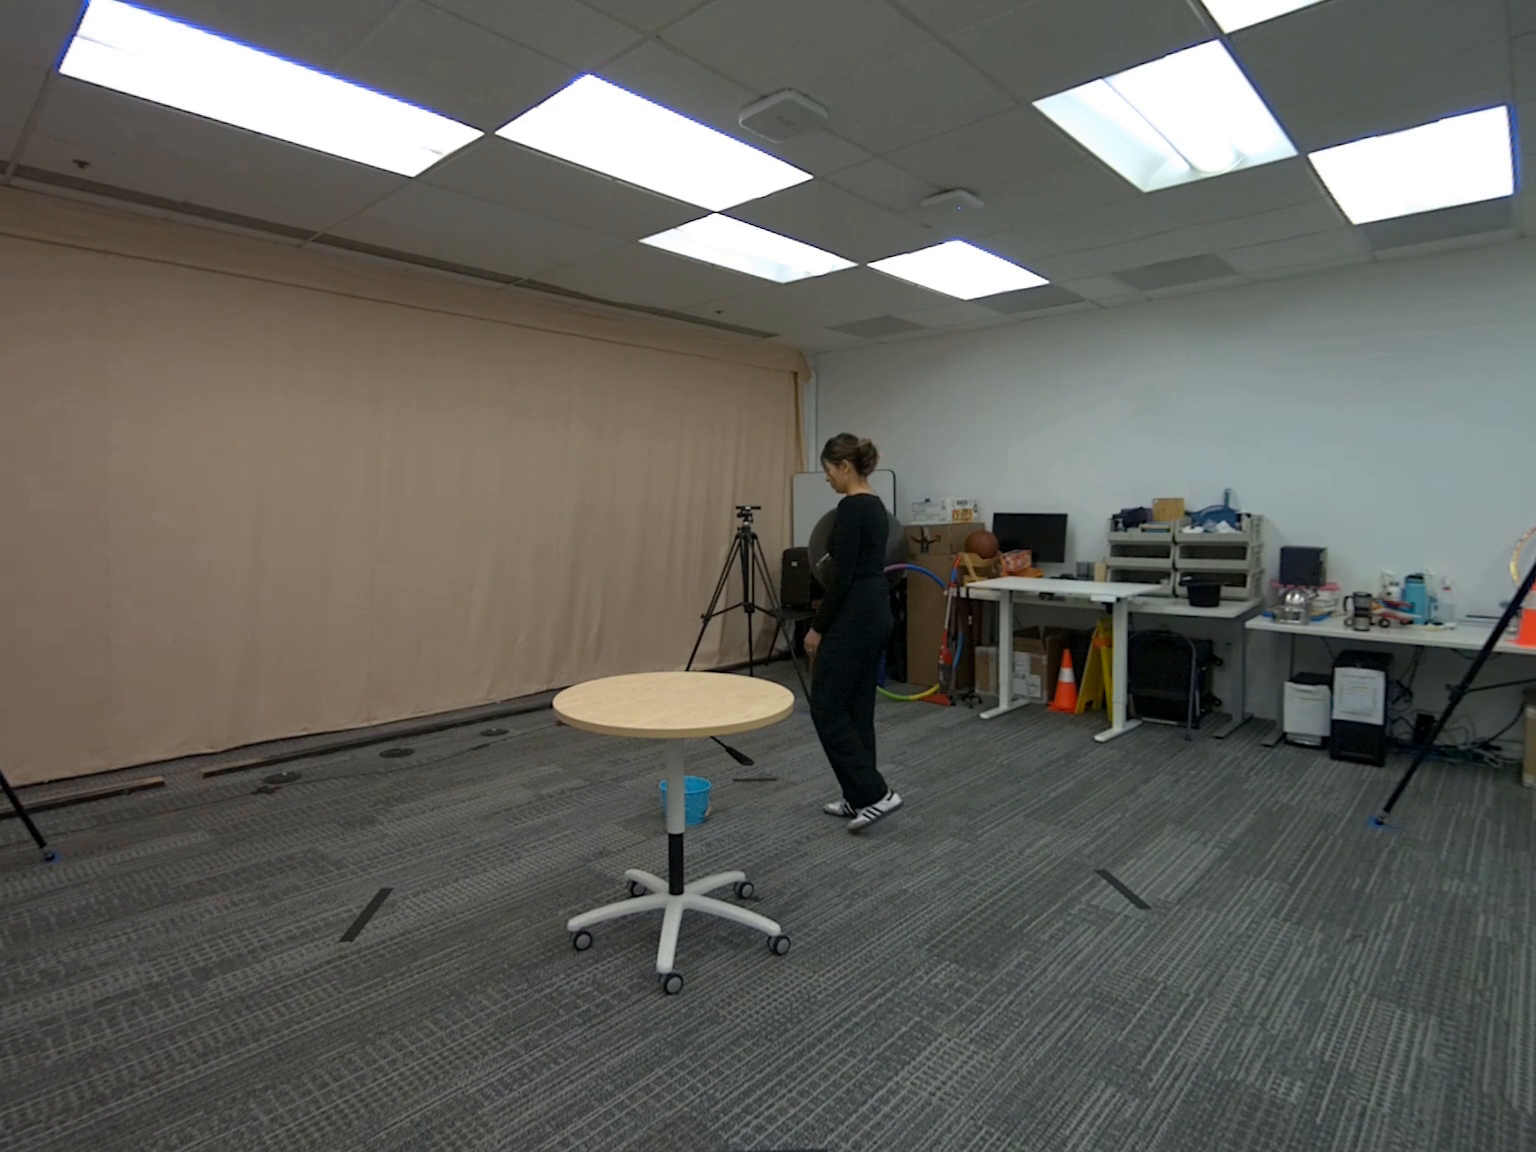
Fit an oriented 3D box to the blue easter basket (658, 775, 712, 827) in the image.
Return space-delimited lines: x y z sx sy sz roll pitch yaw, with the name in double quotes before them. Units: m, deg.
"blue easter basket" -0.366 1.010 3.770 0.243 0.155 0.244 -1 4 -2
